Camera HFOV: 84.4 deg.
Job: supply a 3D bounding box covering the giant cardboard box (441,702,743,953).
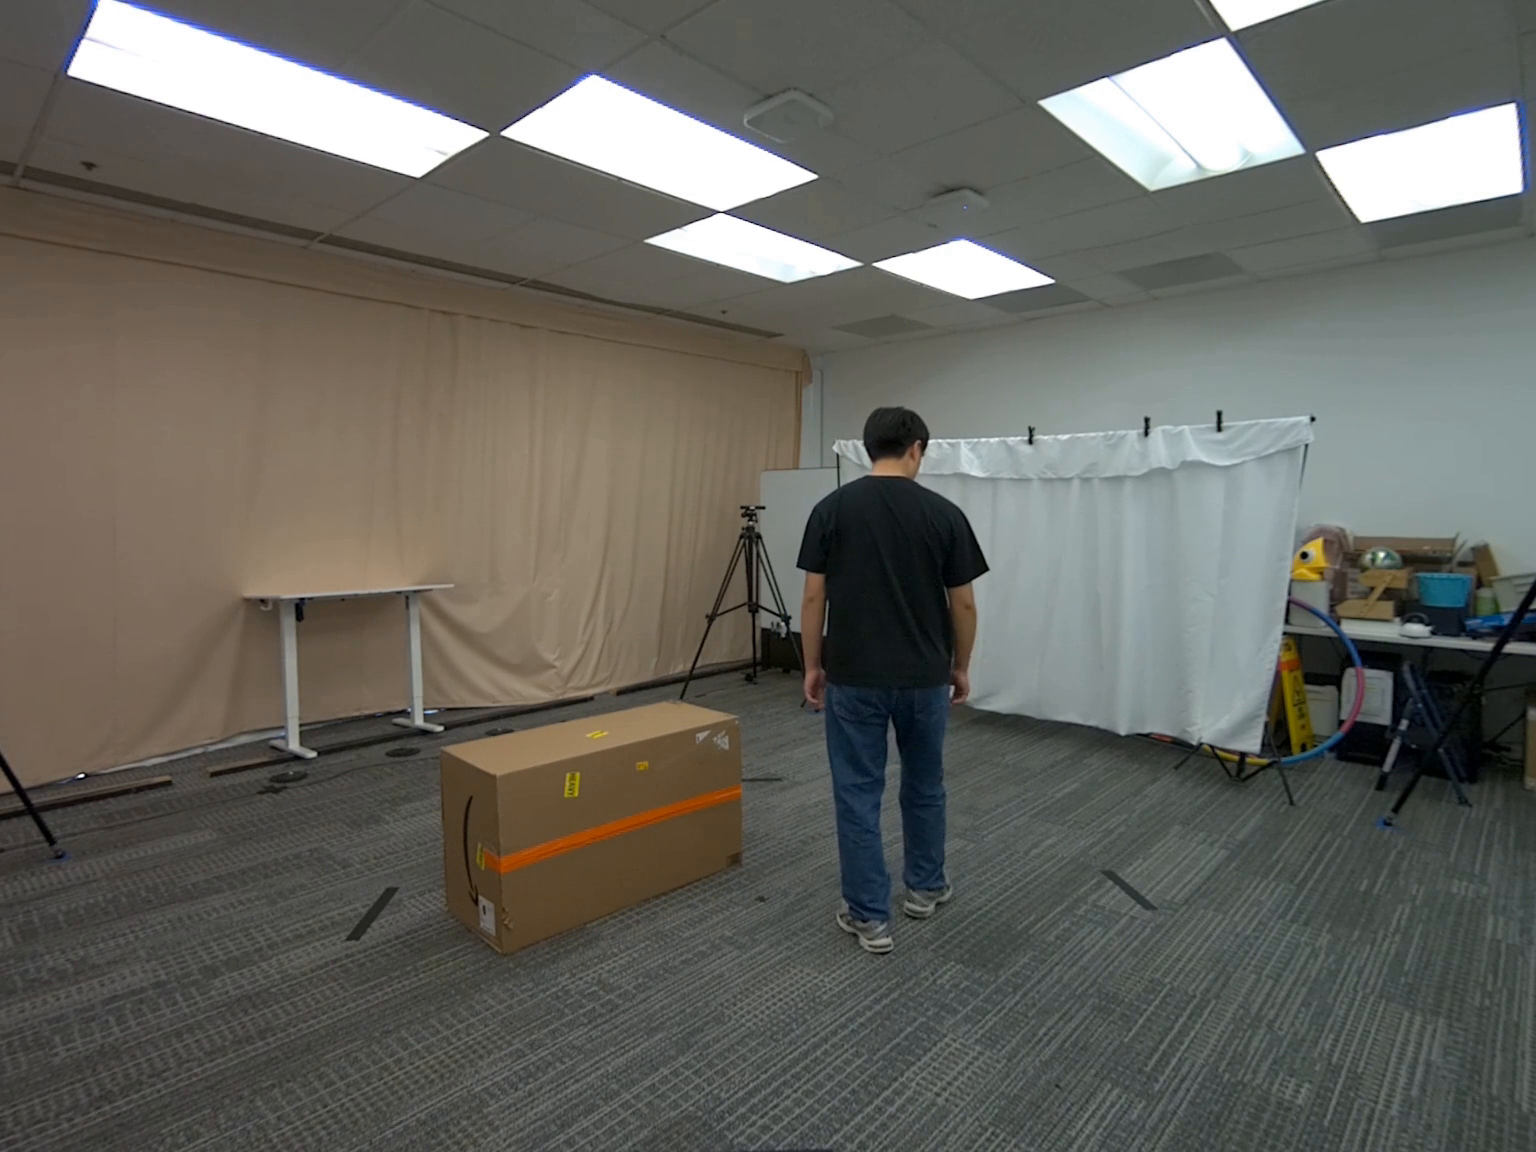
[{"bbox_3d":[-0.615,0.856,3.088,0.996,0.582,0.462,-5,6,-42],"label":"giant cardboard box"}]
